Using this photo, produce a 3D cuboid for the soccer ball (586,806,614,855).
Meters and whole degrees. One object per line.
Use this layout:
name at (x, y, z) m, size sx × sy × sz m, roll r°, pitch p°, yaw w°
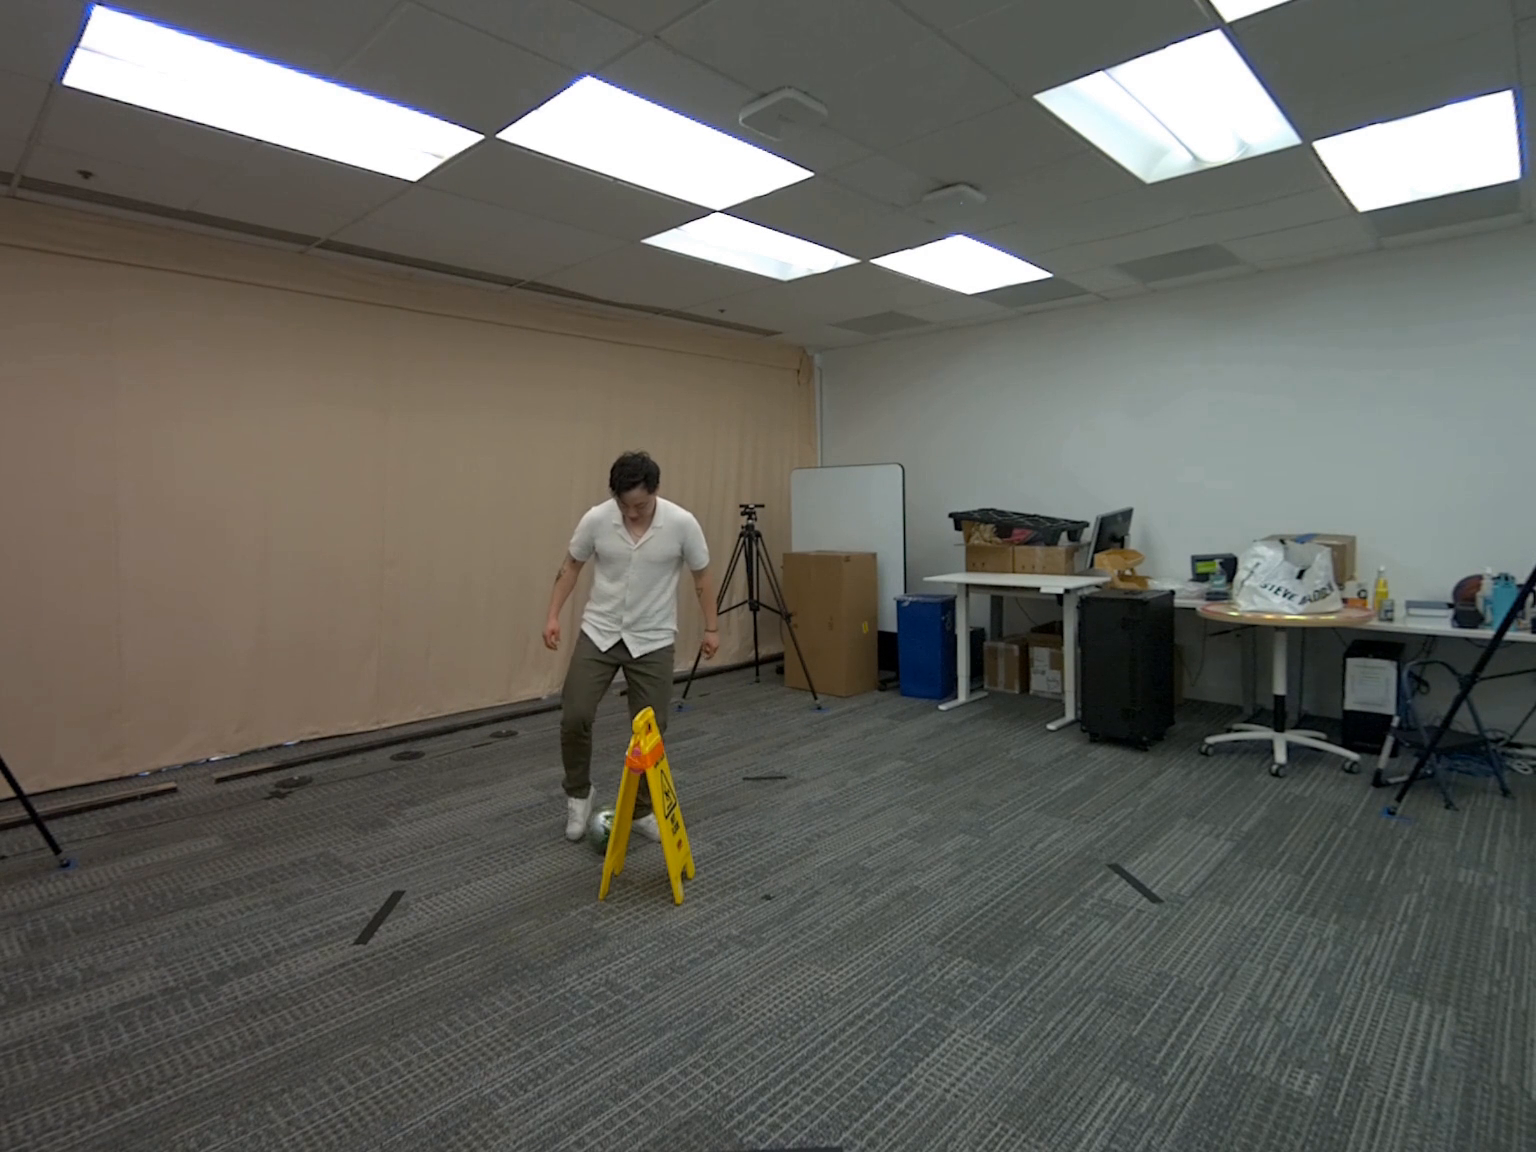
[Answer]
soccer ball at (-0.648, 1.022, 3.425) m, size 0.187 × 0.187 × 0.188 m, roll -1°, pitch 4°, yaw -2°
